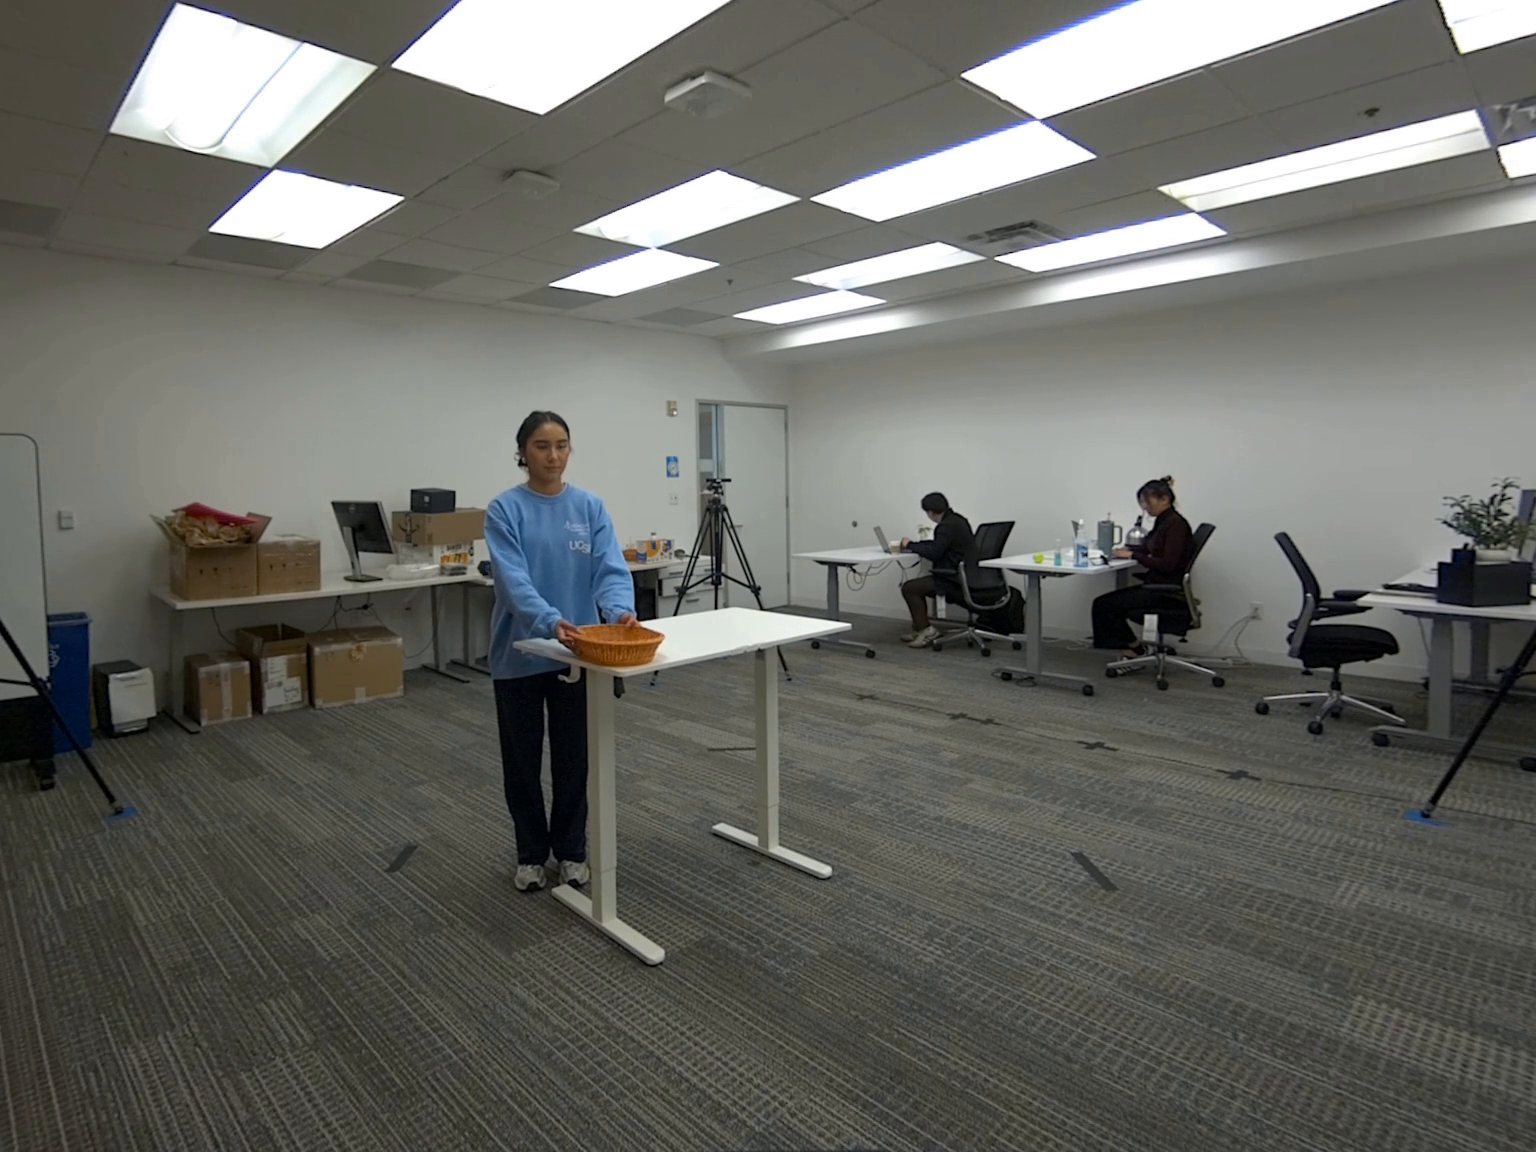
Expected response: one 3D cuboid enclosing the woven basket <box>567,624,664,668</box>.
[{"bbox_3d":[-0.454,0.205,2.517,0.246,0.073,0.361,-3,7,-33],"label":"woven basket"}]
